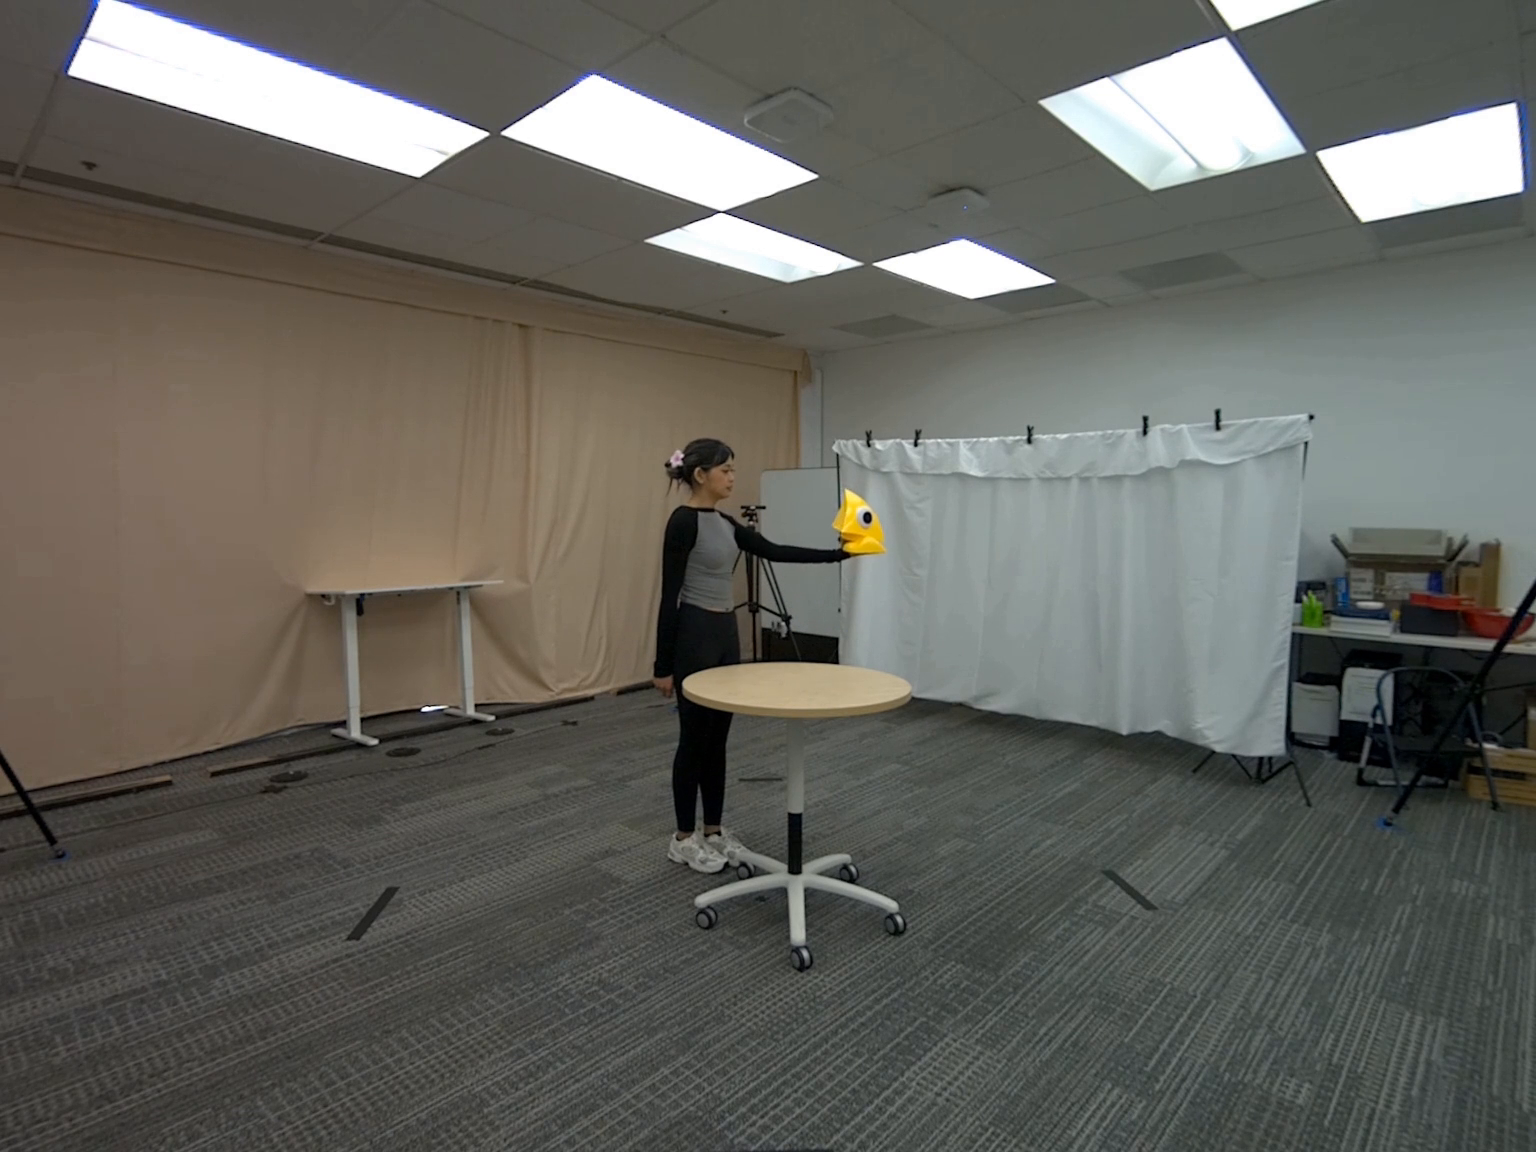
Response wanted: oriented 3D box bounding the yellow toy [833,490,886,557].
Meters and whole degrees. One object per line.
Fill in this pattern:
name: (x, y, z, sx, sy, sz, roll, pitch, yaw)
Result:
yellow toy: (0.359, -0.214, 3.220, 0.192, 0.229, 0.207, 0, 9, -4)
